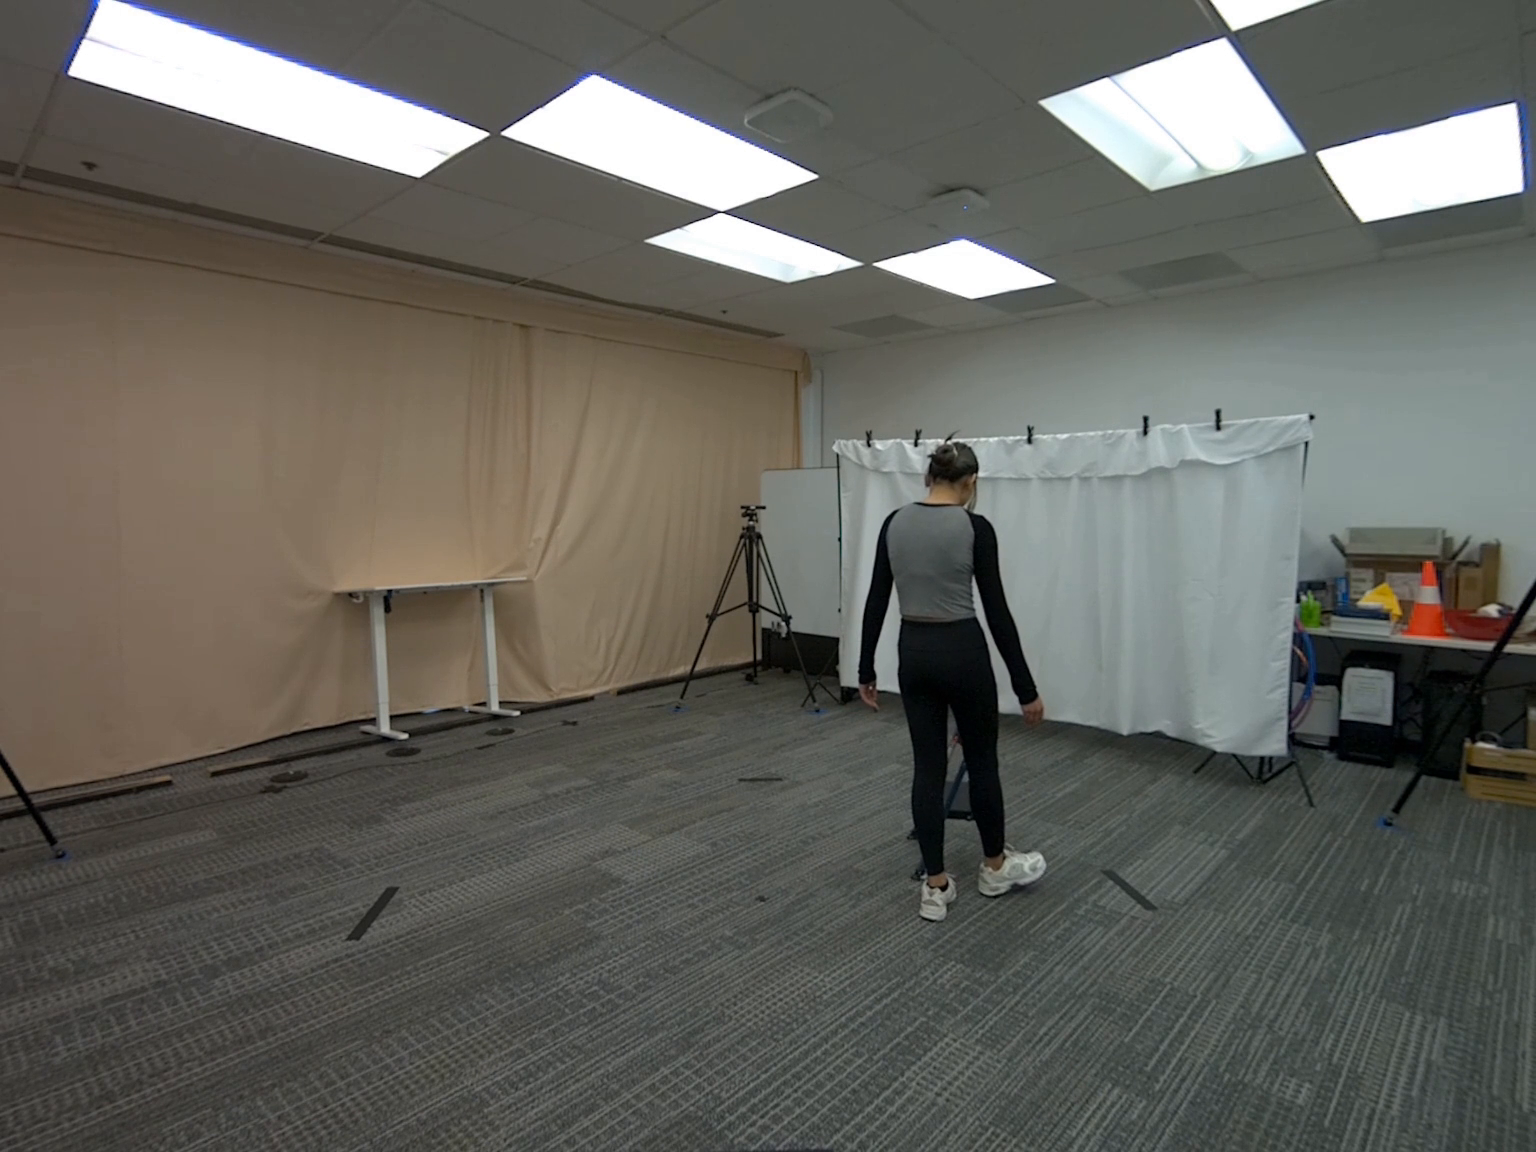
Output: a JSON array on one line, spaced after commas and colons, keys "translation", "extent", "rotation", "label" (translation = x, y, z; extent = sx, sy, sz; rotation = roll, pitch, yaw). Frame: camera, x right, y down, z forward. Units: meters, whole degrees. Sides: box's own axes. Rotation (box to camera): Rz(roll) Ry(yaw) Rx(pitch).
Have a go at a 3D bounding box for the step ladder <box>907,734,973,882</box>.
[{"translation": [0.737, 0.814, 3.294], "extent": [0.353, 0.605, 0.427], "rotation": [0, 3, 9], "label": "step ladder"}]
